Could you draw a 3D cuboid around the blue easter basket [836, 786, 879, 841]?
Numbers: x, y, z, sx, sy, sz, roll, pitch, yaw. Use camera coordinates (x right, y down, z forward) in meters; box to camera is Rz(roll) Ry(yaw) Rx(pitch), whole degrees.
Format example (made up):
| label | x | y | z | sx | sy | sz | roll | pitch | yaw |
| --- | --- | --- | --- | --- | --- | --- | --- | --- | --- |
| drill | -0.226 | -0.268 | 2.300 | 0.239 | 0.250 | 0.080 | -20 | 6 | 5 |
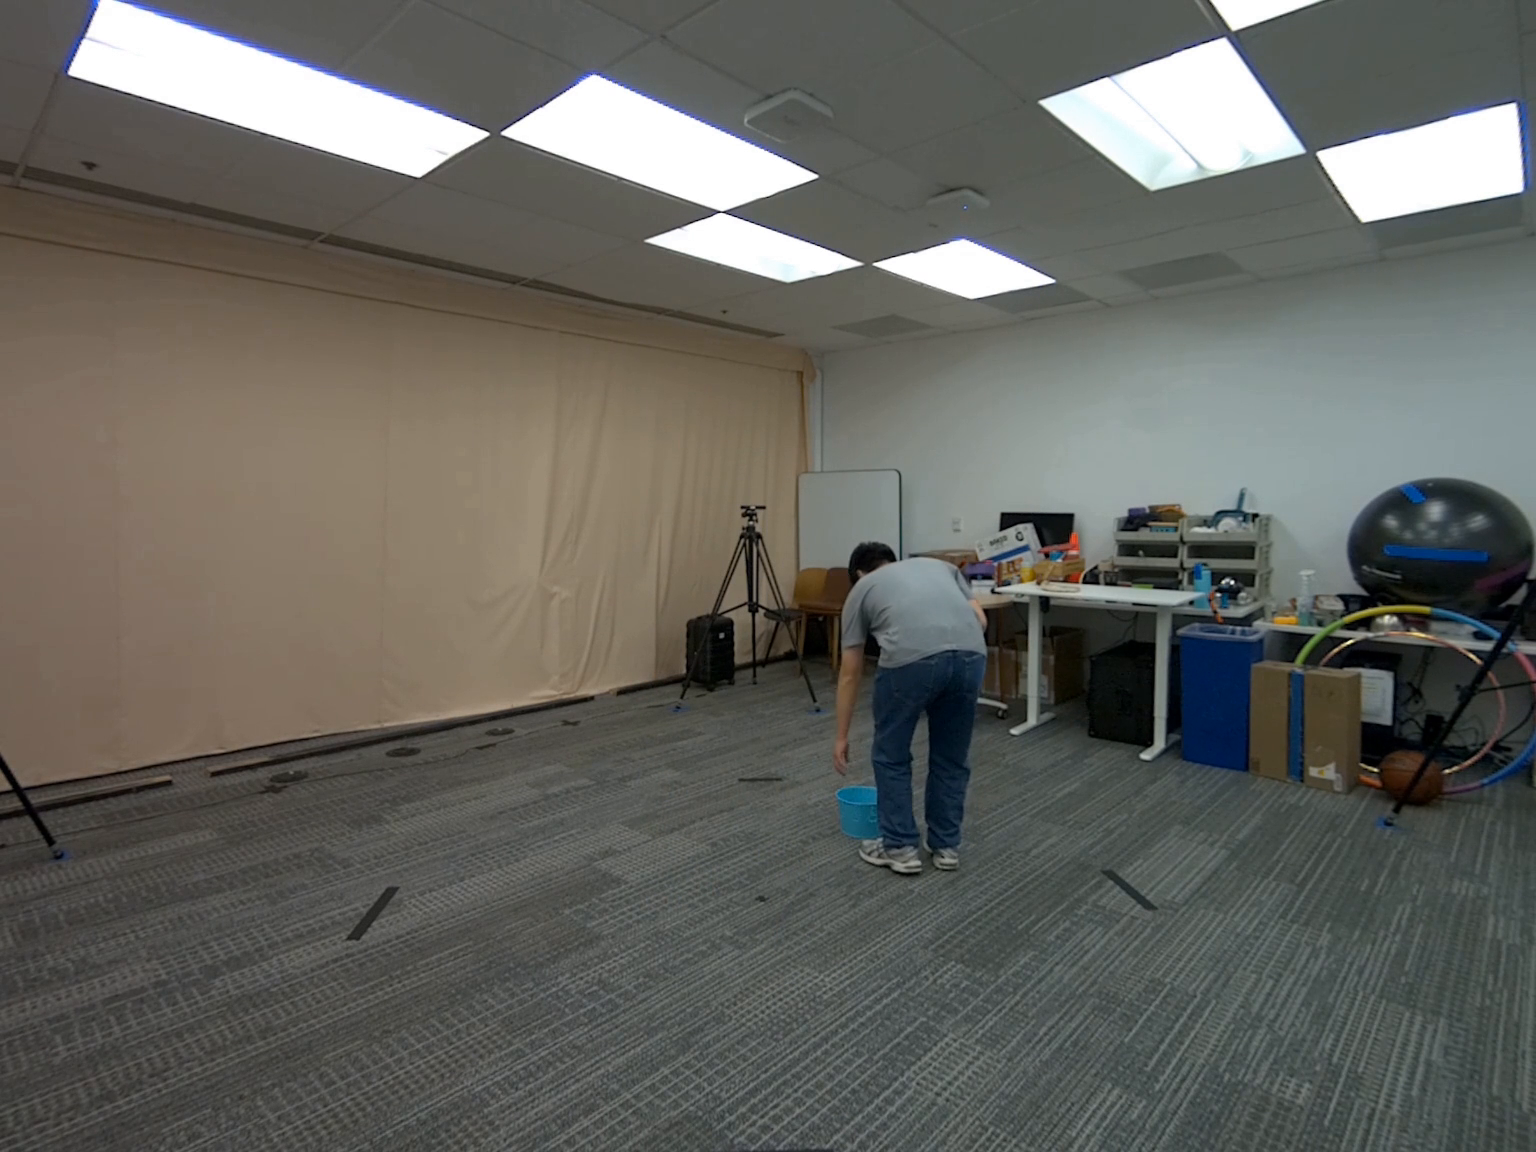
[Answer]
| label | x | y | z | sx | sy | sz | roll | pitch | yaw |
| --- | --- | --- | --- | --- | --- | --- | --- | --- | --- |
| blue easter basket | 0.414 | 1.008 | 3.607 | 0.243 | 0.155 | 0.244 | -1 | 5 | -2 |
